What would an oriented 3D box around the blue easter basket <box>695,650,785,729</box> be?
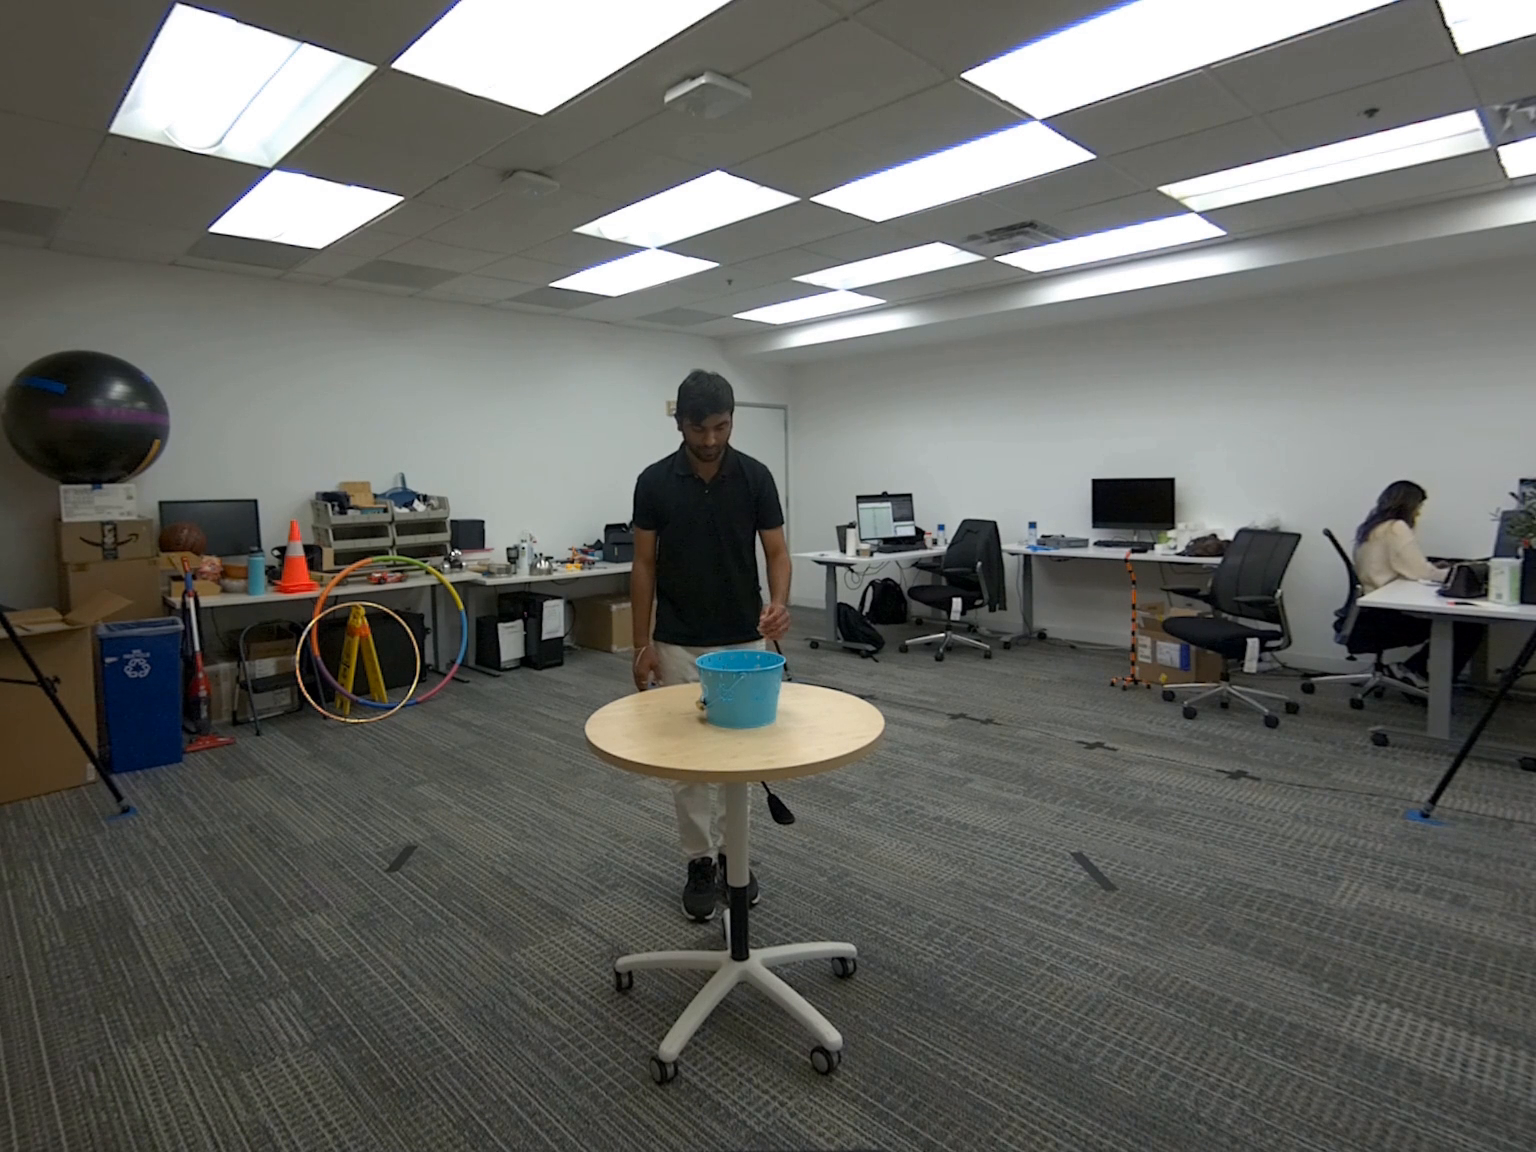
[{"bbox_3d":[-0.066,0.294,2.200,0.243,0.155,0.245,-1,6,-2],"label":"blue easter basket"}]
